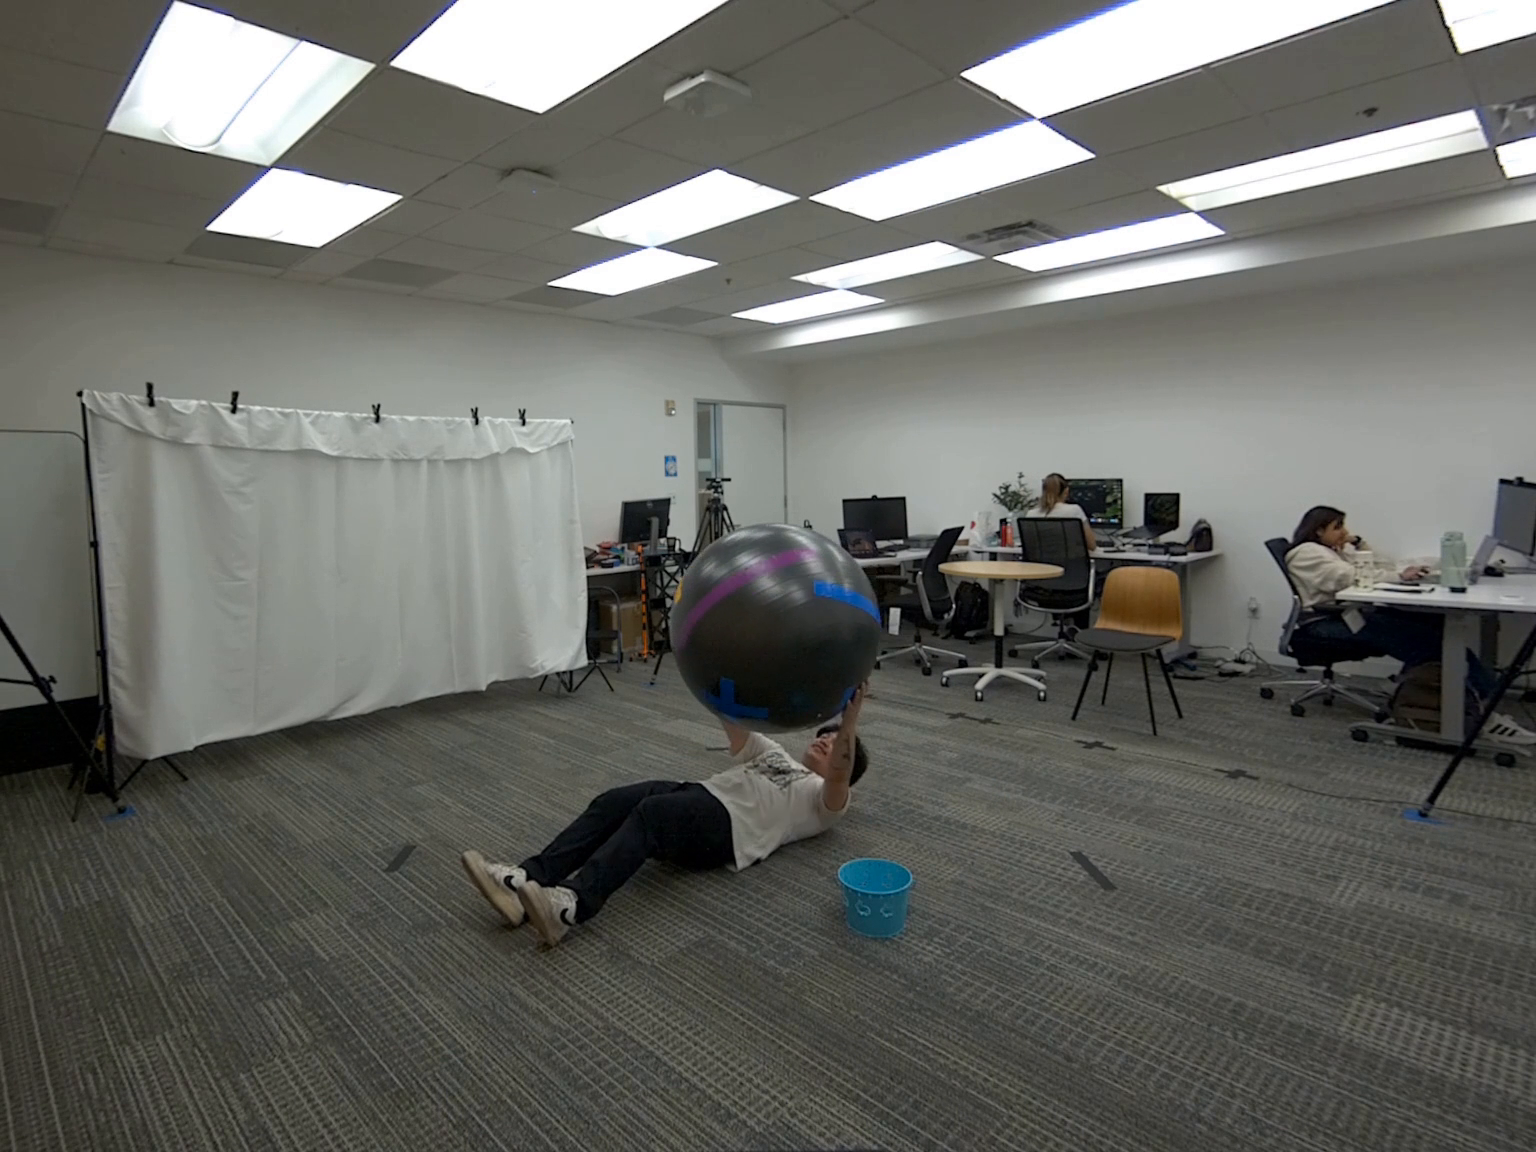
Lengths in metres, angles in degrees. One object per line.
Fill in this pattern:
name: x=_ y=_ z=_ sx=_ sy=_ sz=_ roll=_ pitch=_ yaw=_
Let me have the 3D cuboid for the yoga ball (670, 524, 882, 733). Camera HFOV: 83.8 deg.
yoga ball: x=0.020 y=0.191 z=3.102 sx=0.757 sy=0.755 sz=0.762 roll=-1 pitch=5 yaw=-2
